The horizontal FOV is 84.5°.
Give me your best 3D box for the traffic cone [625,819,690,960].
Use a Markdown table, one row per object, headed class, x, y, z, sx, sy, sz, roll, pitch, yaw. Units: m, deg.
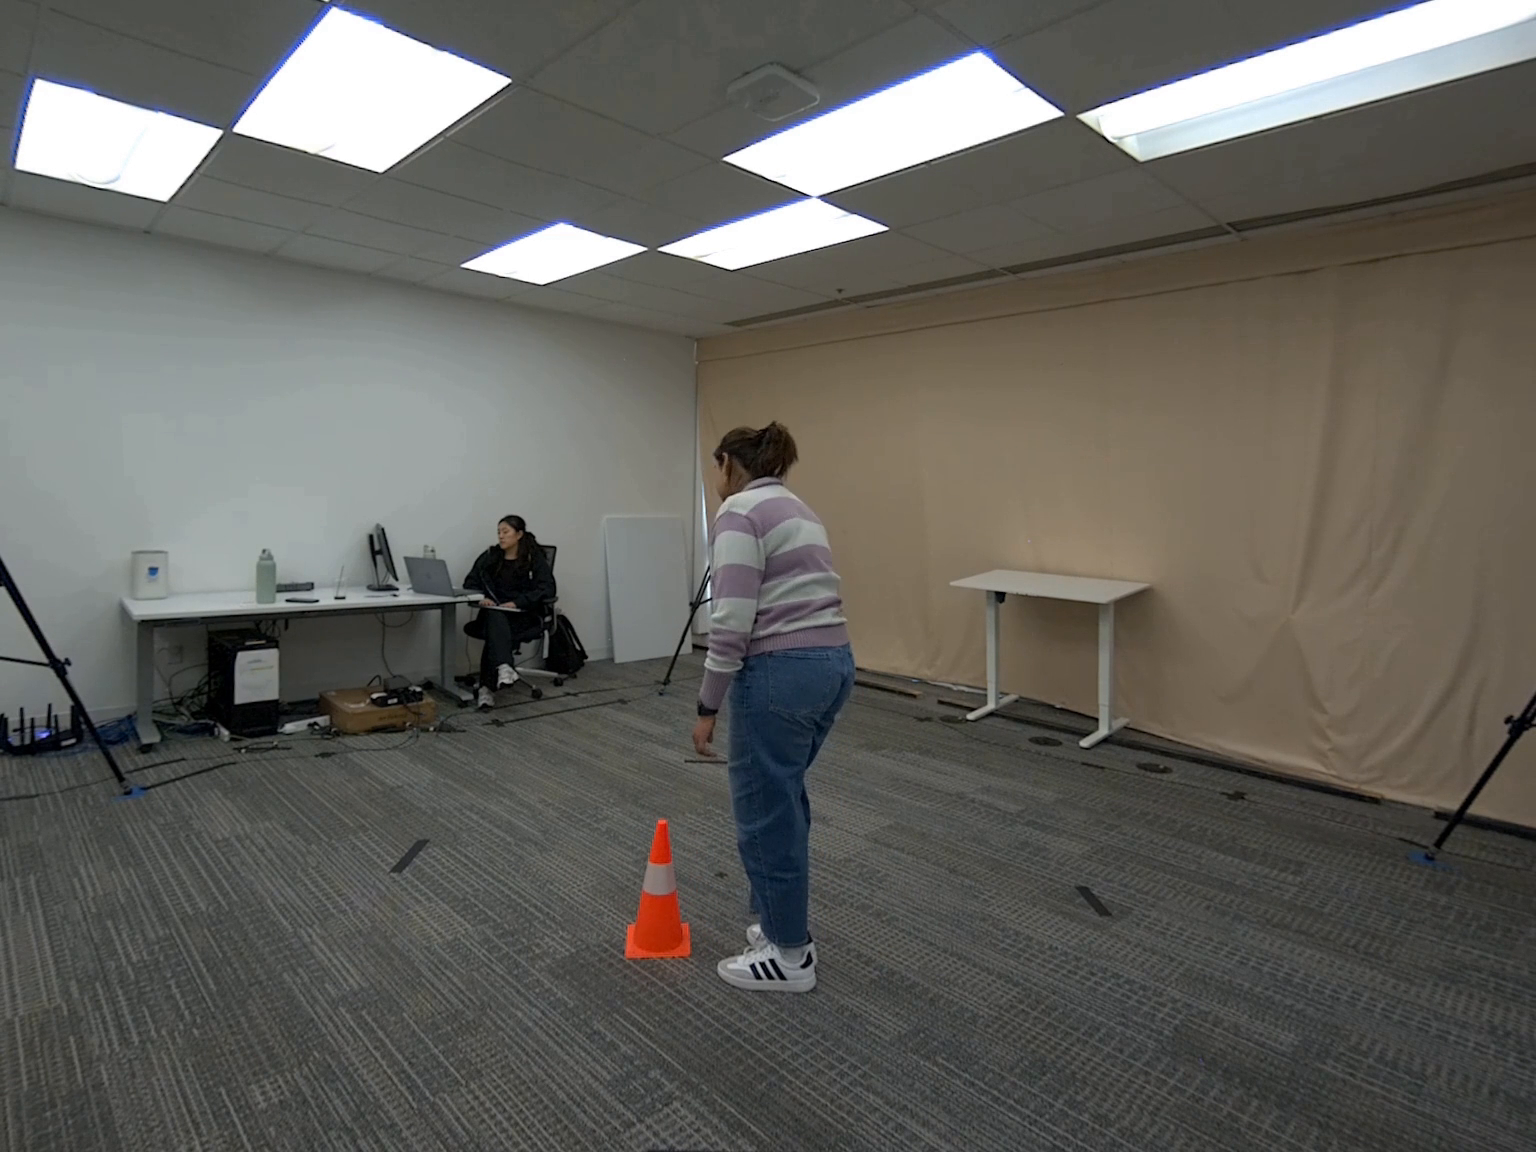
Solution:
| class | x | y | z | sx | sy | sz | roll | pitch | yaw |
| --- | --- | --- | --- | --- | --- | --- | --- | --- | --- |
| traffic cone | -0.340 | 0.952 | 2.629 | 0.204 | 0.383 | 0.205 | 0 | 1 | -9 |
